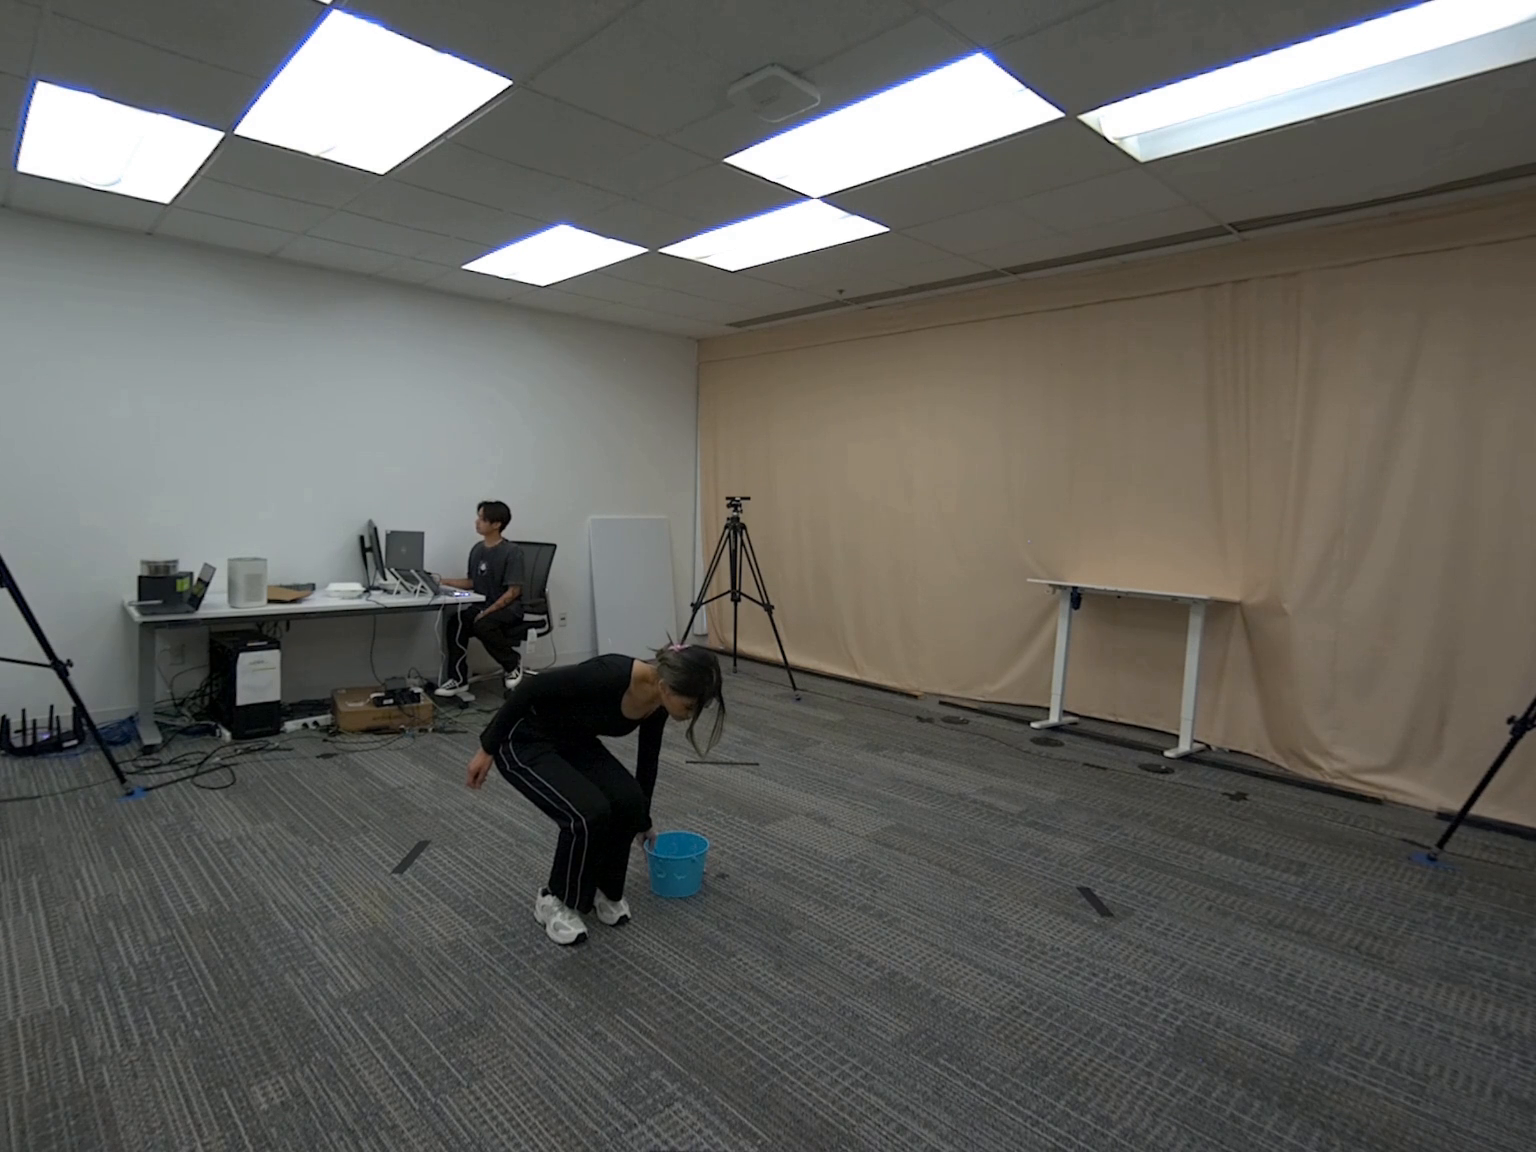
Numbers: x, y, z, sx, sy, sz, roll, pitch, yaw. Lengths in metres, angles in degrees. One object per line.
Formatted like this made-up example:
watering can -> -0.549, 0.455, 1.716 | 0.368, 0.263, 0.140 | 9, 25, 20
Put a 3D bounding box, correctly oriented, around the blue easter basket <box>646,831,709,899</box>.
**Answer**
blue easter basket -> -0.329, 1.032, 3.011 | 0.243, 0.155, 0.244 | 1, 4, -1
